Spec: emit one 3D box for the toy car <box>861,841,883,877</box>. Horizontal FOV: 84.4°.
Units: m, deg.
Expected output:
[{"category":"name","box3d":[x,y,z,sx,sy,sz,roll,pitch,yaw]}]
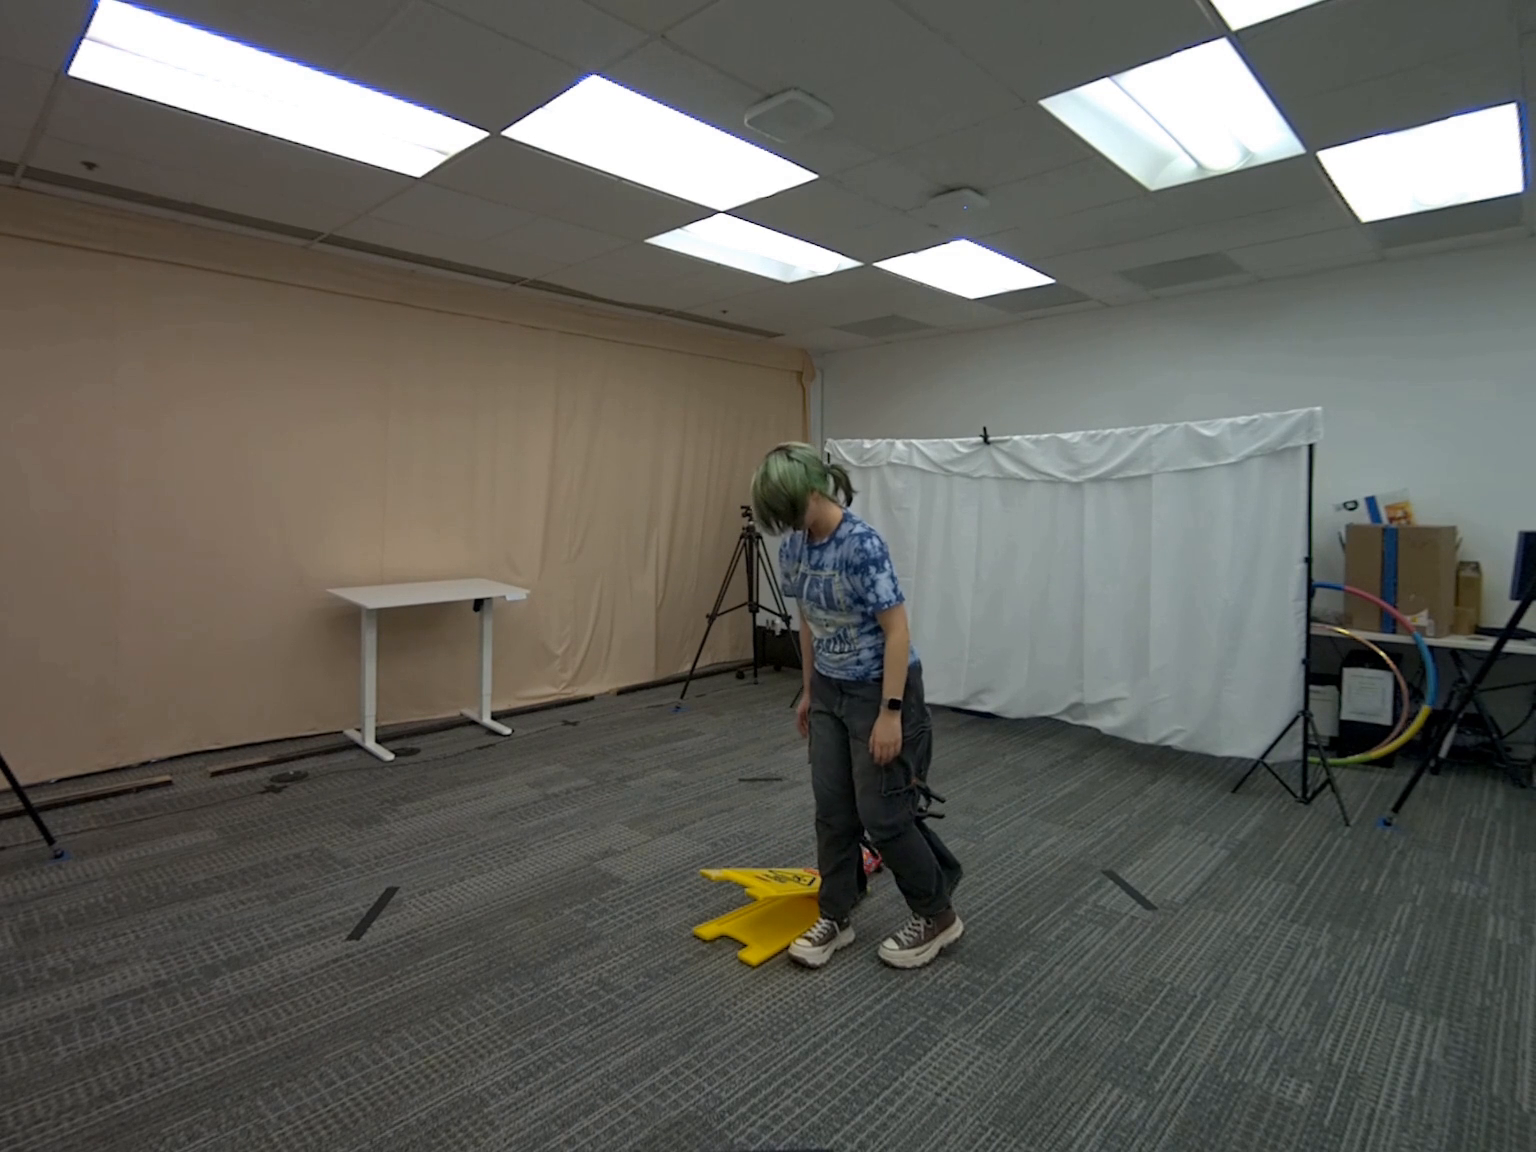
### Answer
[{"category":"toy car","box3d":[0.362,1.091,3.197,0.134,0.082,0.248,3,16,40]}]
